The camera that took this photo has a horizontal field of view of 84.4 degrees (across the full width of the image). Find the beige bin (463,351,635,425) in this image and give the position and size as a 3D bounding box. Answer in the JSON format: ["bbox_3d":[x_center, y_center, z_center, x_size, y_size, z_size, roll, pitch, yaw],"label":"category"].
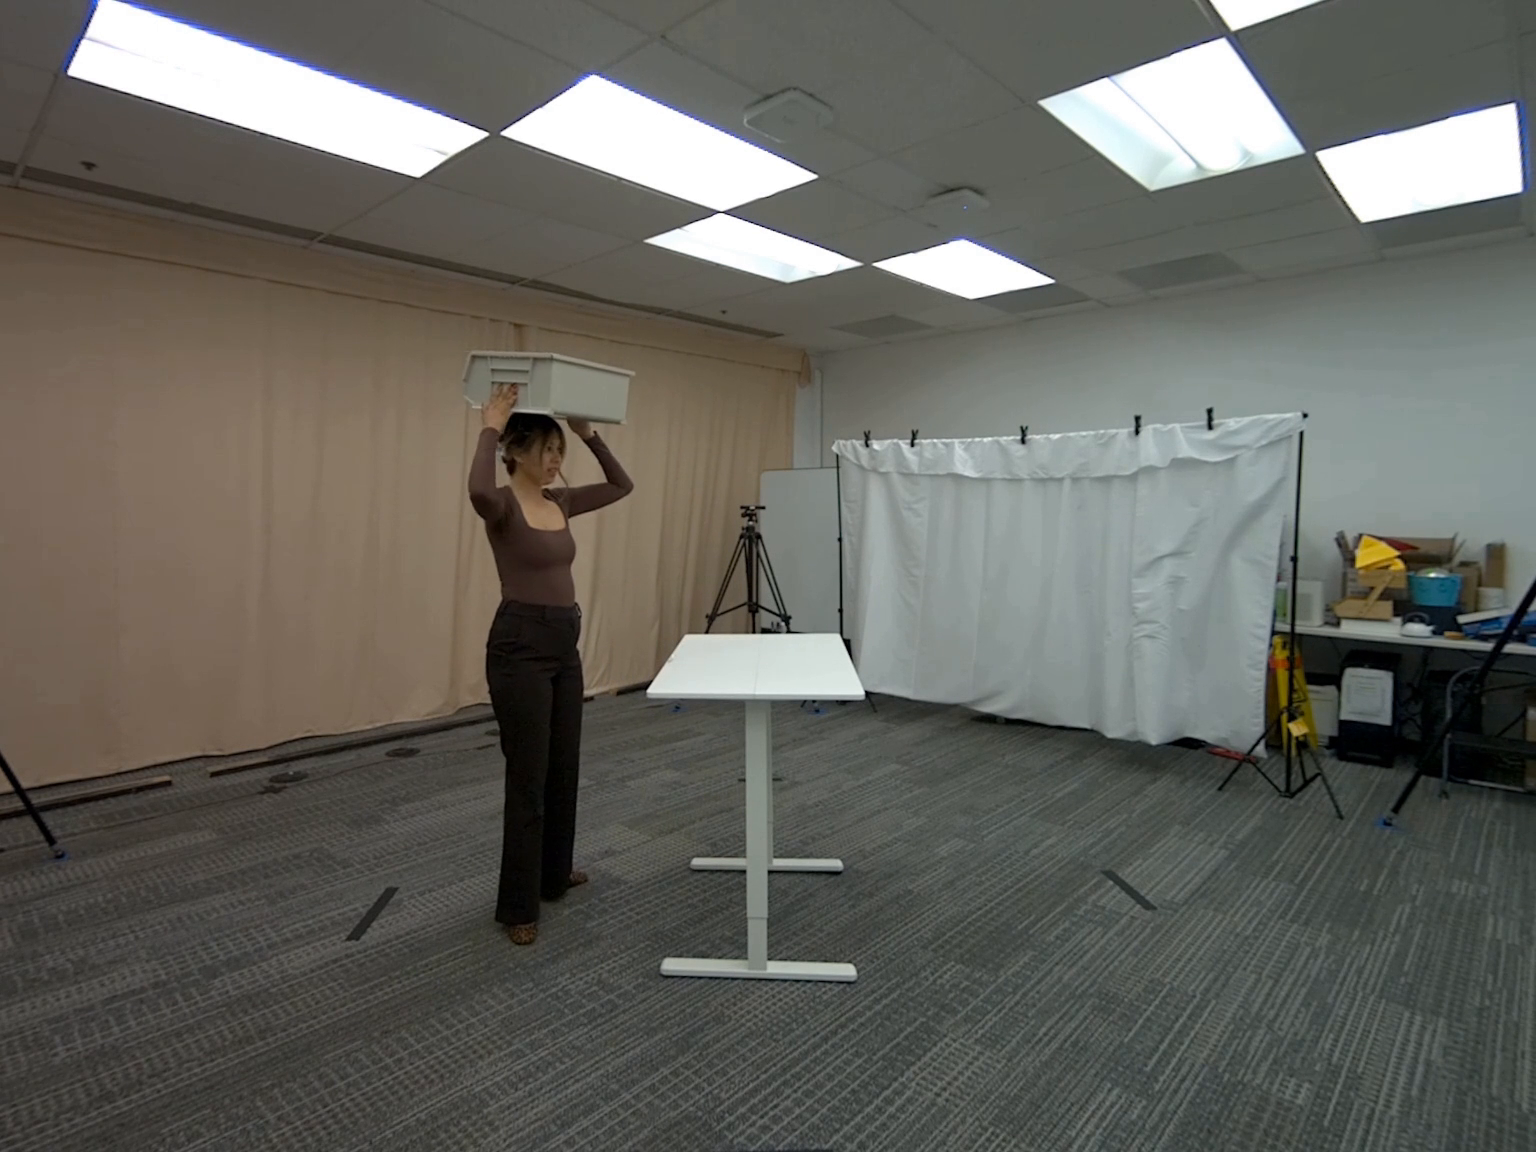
[{"bbox_3d":[-0.720,-0.616,2.765,0.388,0.188,0.412,10,8,27],"label":"beige bin"}]
